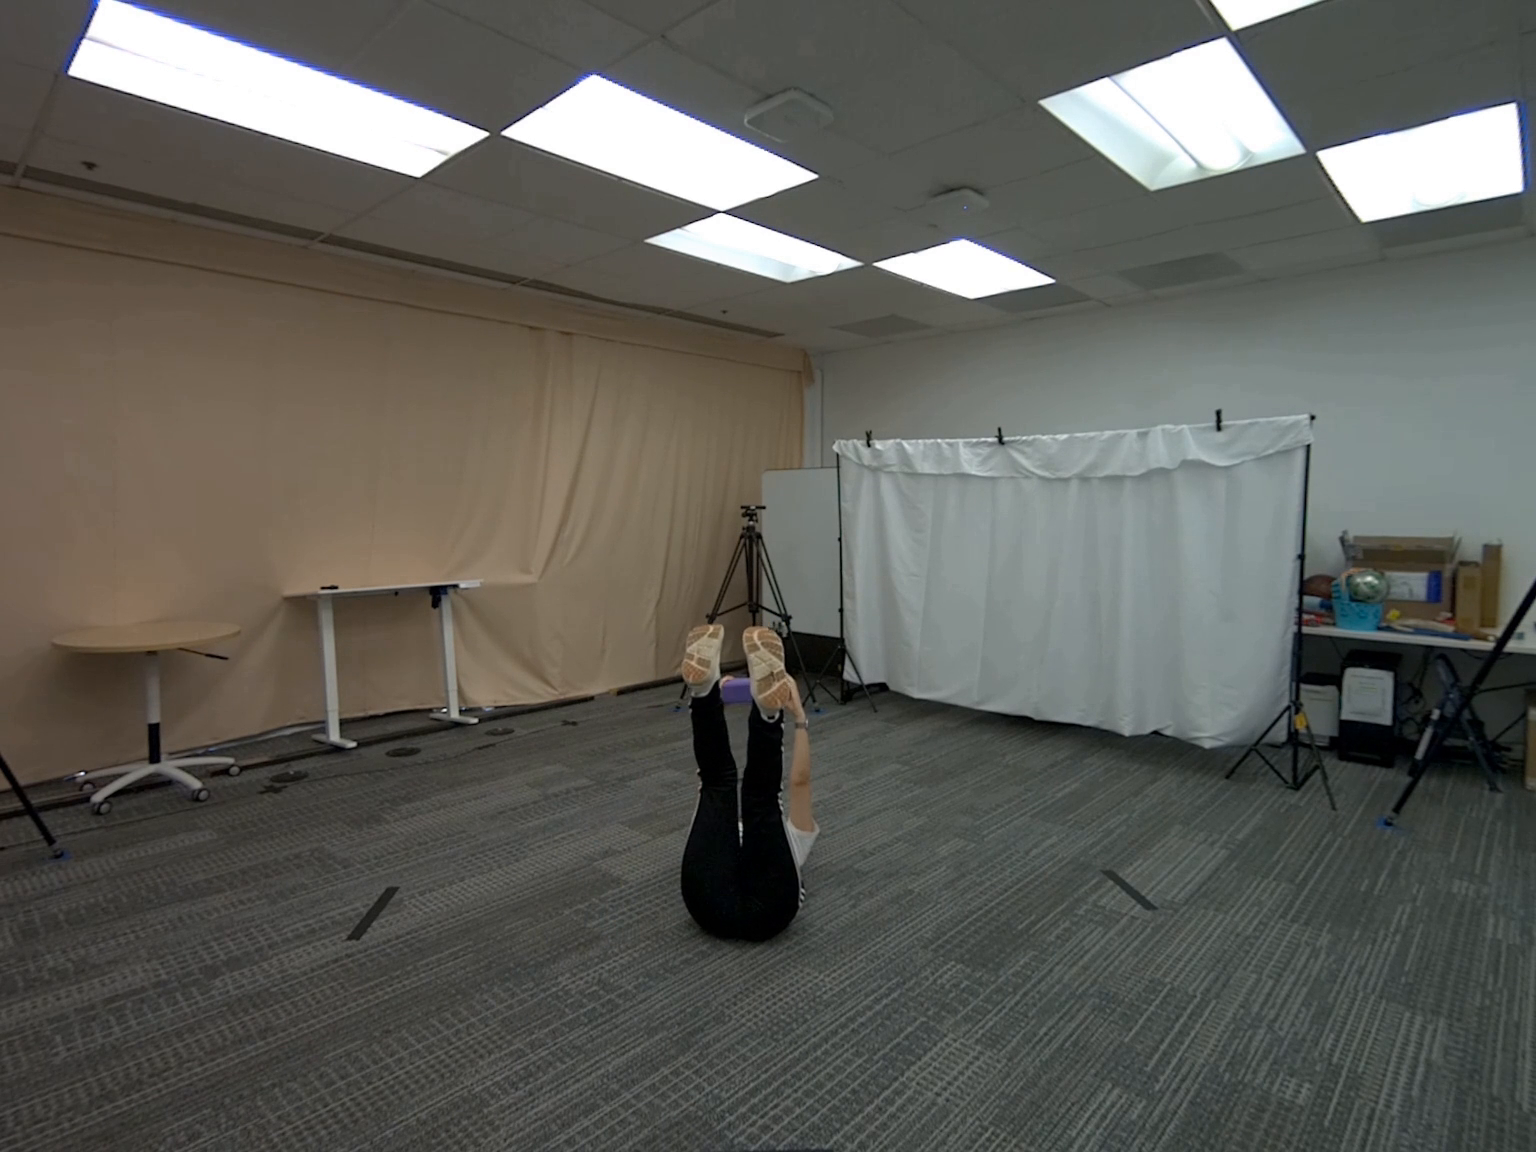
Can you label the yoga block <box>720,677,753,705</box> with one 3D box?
[{"bbox_3d":[-0.052,0.445,3.293,0.230,0.076,0.148,-2,0,3],"label":"yoga block"}]
